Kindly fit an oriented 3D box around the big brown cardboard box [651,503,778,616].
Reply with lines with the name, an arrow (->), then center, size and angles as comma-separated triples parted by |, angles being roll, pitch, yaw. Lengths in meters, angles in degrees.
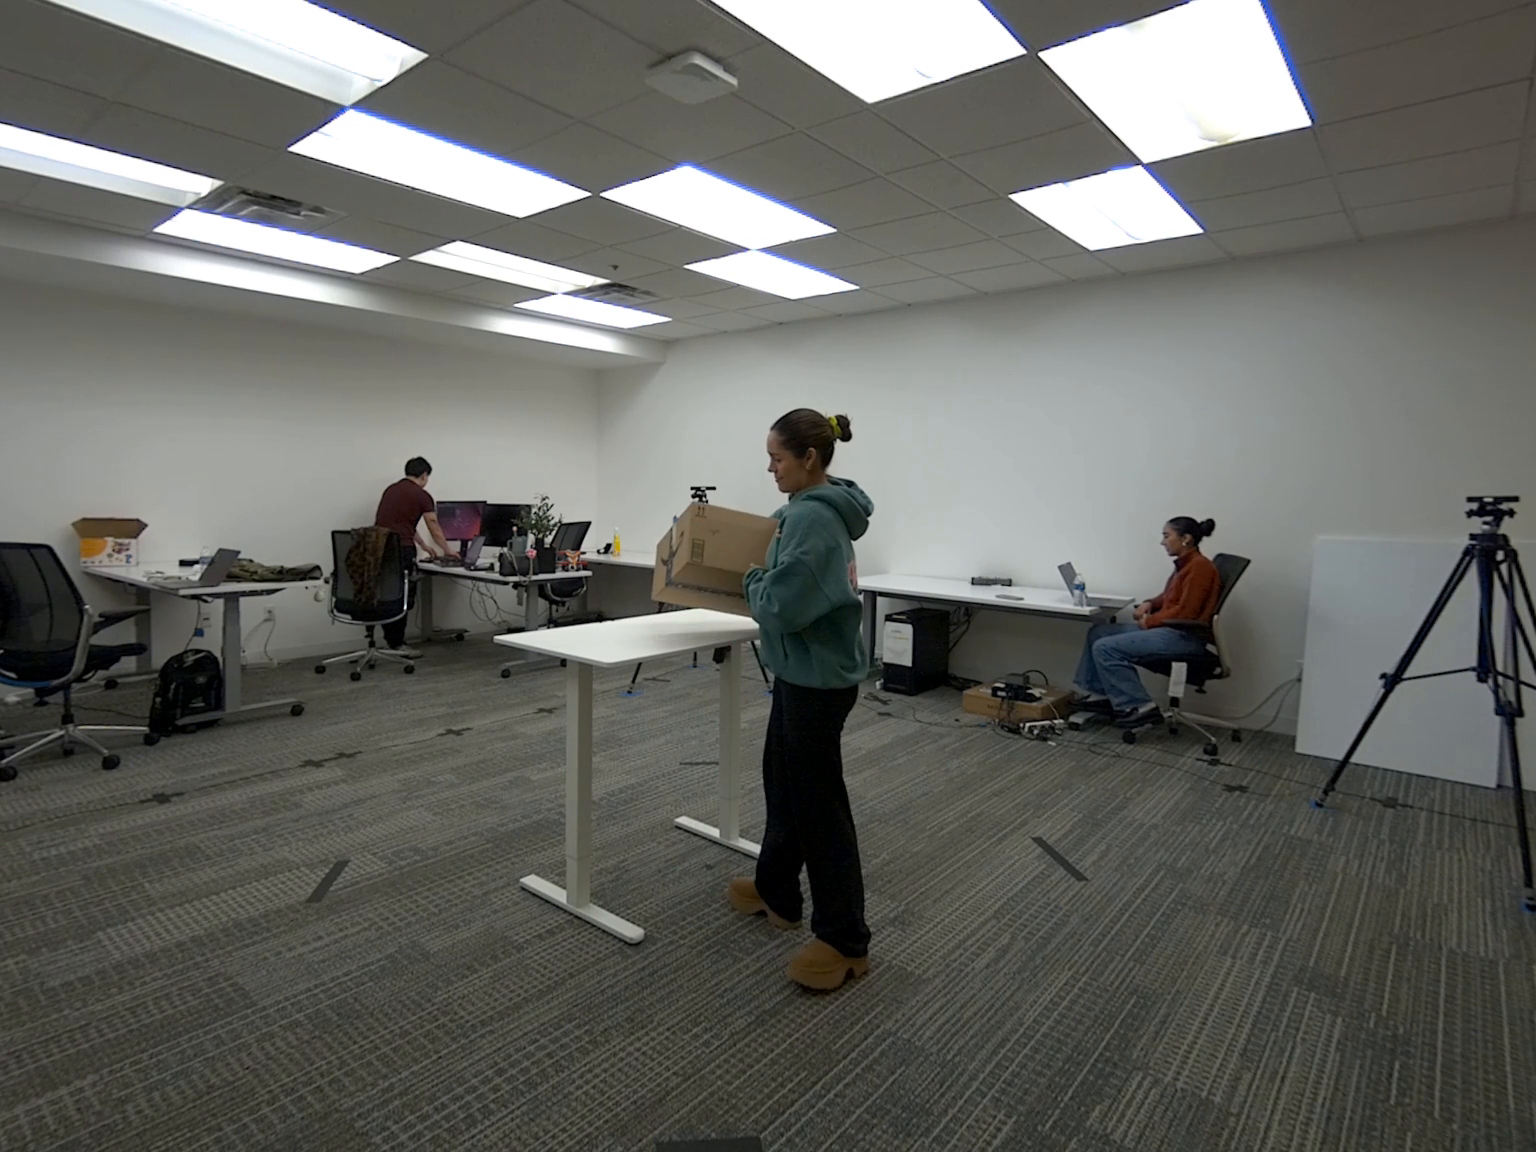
big brown cardboard box -> -0.073, -0.025, 2.926 | 0.576, 0.237, 0.419 | 10, -22, -19
